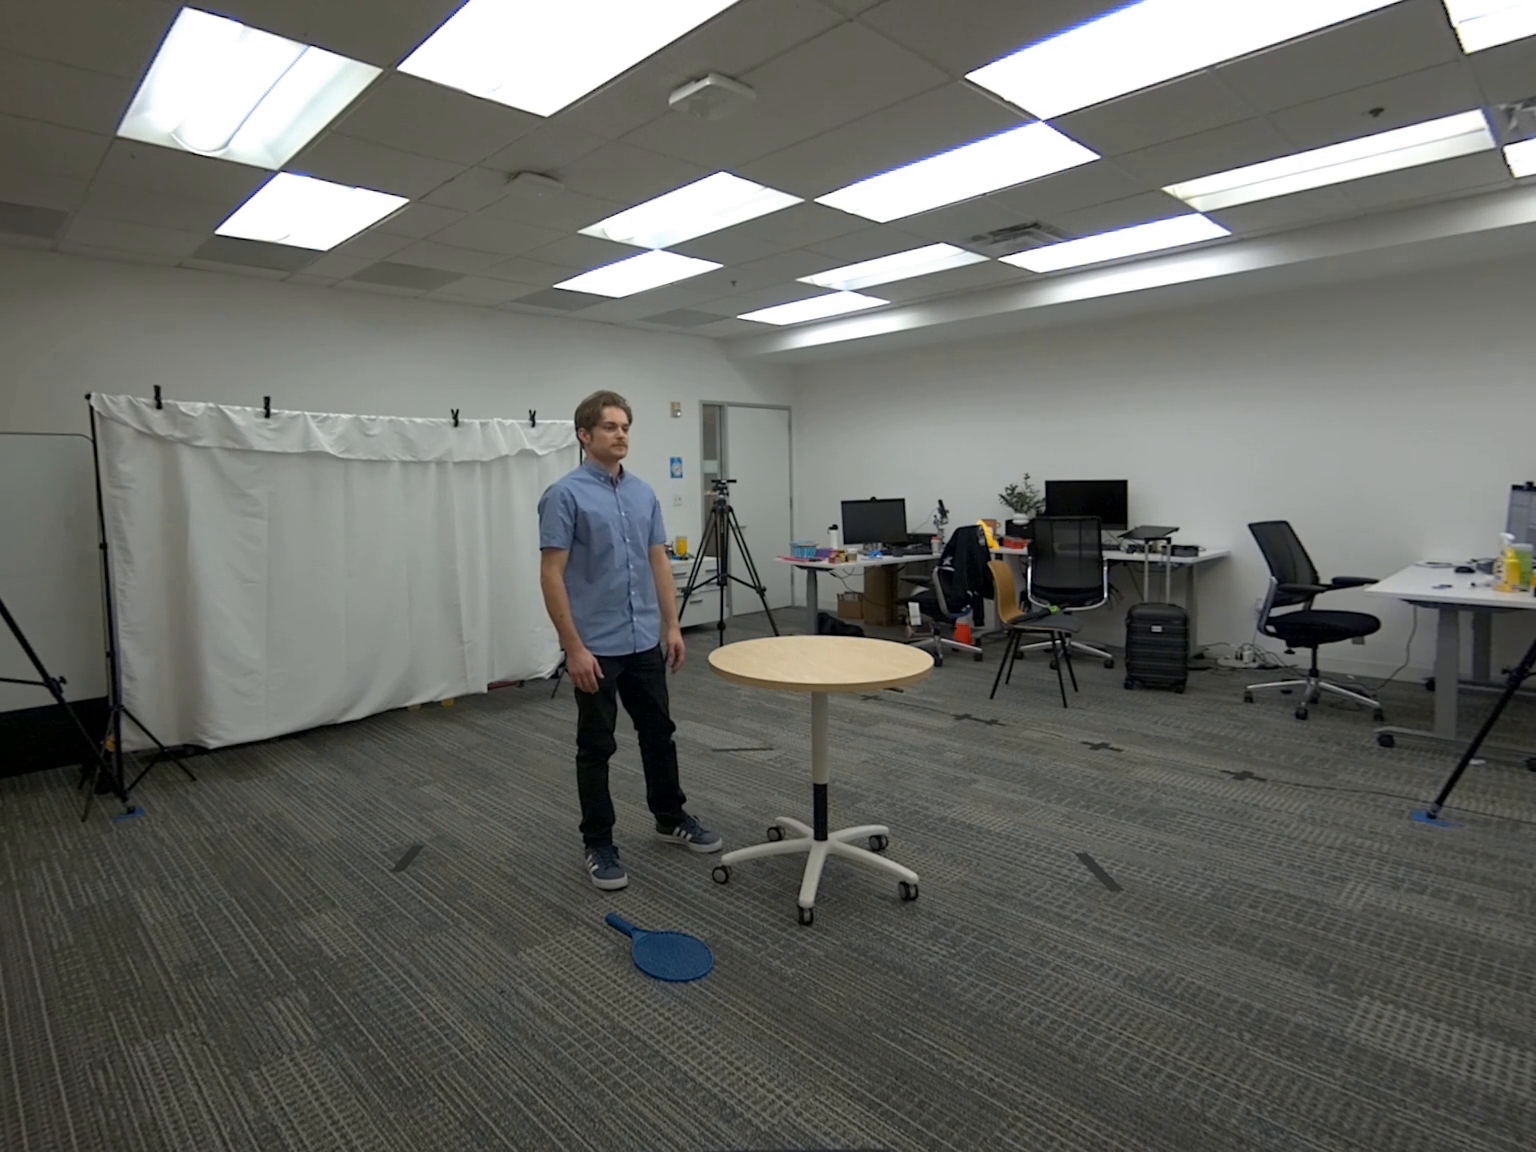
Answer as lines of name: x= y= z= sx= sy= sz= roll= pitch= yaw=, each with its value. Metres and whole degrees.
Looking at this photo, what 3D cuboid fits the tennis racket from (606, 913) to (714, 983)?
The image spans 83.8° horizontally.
tennis racket: x=-0.335 y=1.102 z=2.565 sx=0.446 sy=0.031 sz=0.208 roll=6 pitch=10 yaw=42
